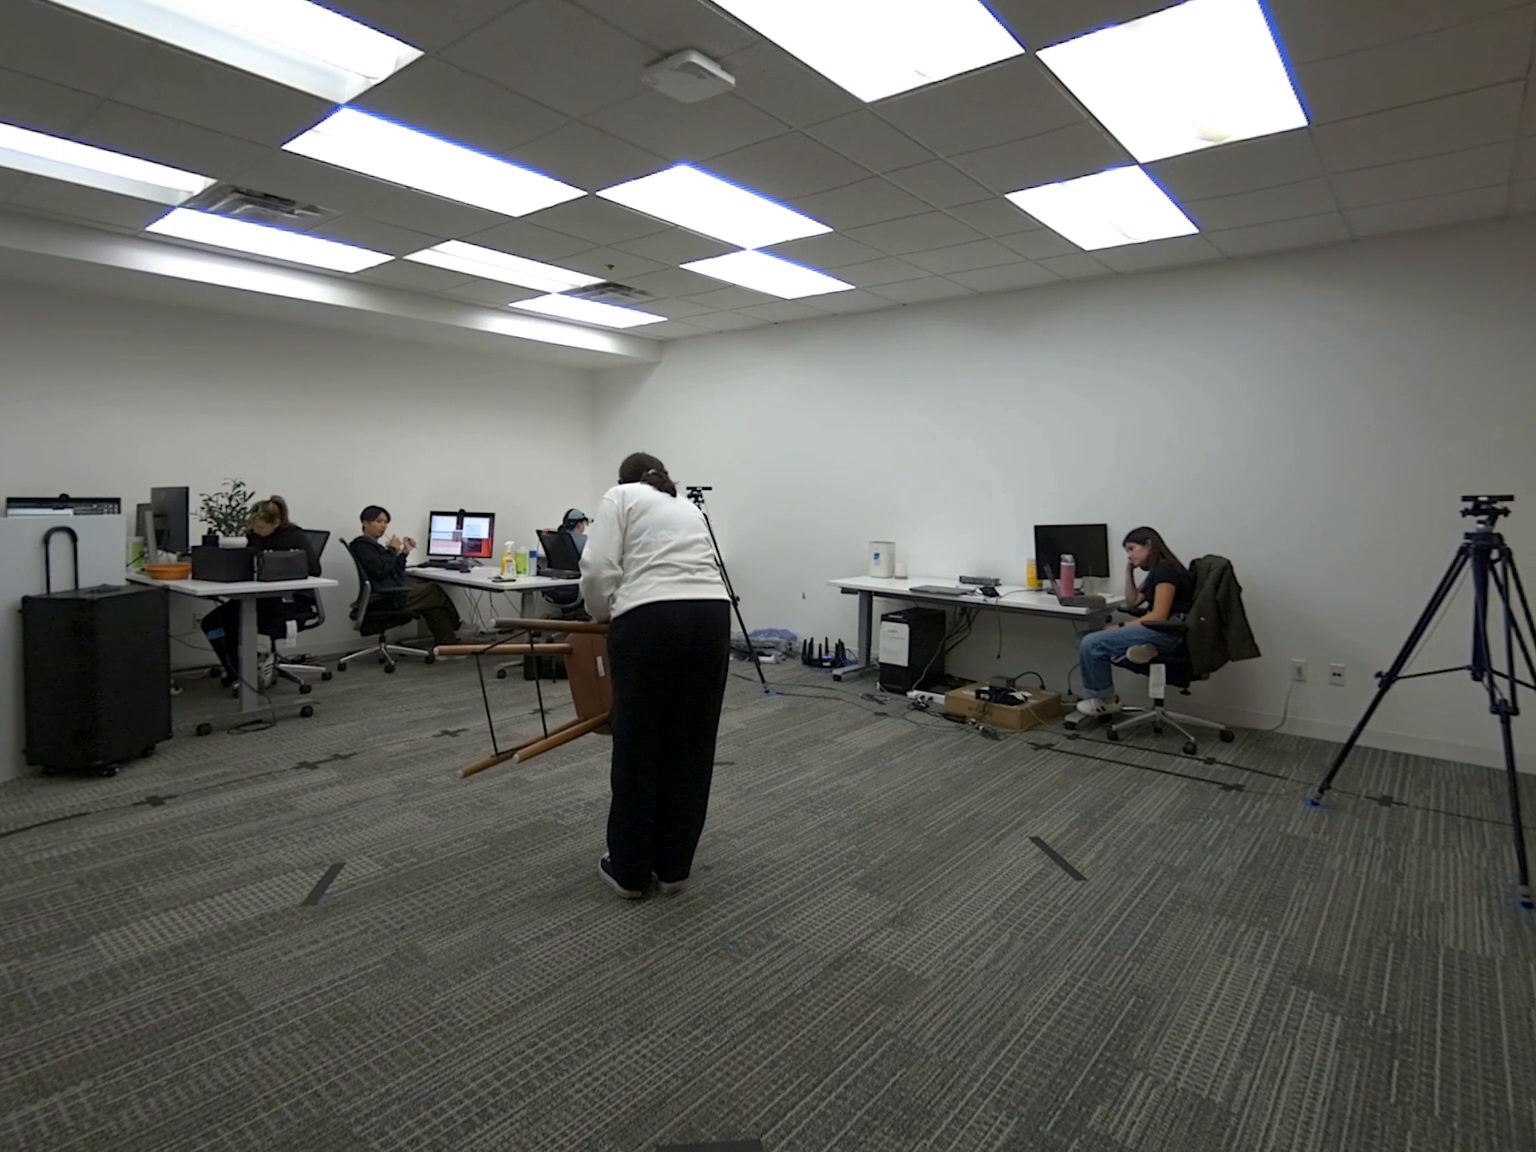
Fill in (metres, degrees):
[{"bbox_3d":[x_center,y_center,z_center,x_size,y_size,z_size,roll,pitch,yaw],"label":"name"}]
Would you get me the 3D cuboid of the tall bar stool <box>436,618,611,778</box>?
[{"bbox_3d":[-0.677,0.393,3.088,0.464,0.475,0.861,-23,-15,39],"label":"tall bar stool"}]
